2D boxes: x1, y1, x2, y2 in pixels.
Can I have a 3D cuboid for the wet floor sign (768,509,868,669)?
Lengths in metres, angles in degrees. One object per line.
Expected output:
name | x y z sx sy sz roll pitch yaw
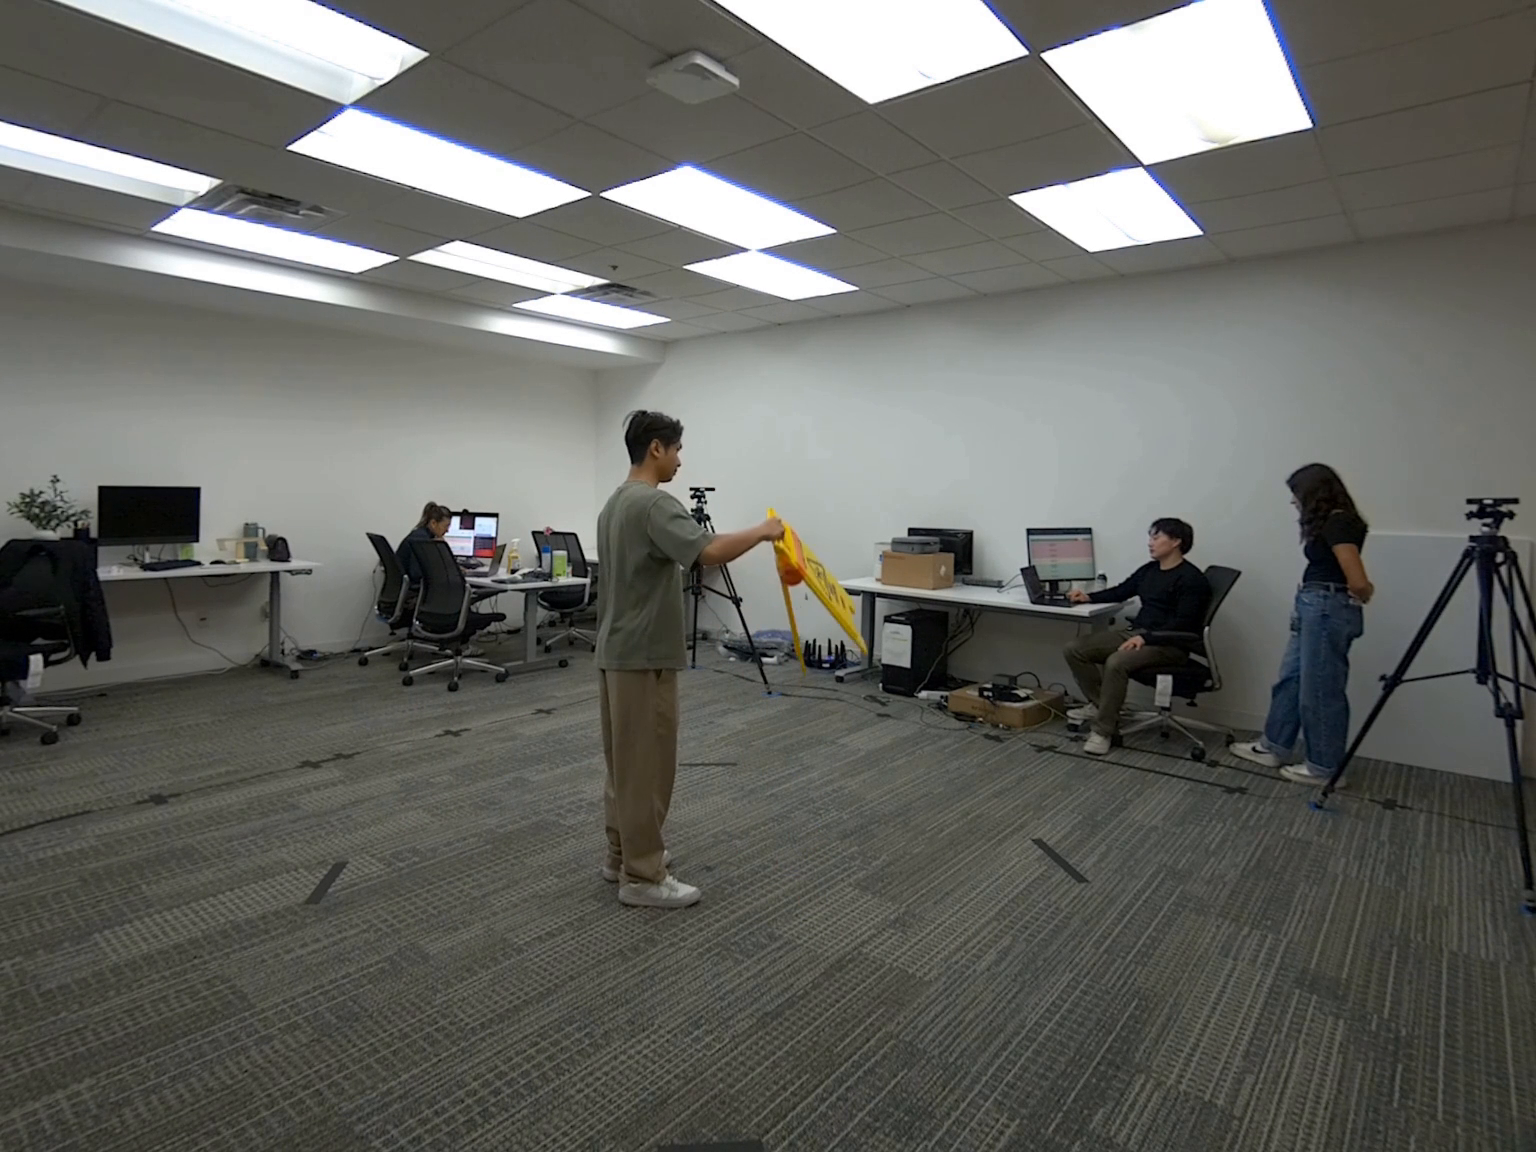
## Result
wet floor sign | 0.109 0.035 3.062 0.291 0.620 0.292 -19 44 9
